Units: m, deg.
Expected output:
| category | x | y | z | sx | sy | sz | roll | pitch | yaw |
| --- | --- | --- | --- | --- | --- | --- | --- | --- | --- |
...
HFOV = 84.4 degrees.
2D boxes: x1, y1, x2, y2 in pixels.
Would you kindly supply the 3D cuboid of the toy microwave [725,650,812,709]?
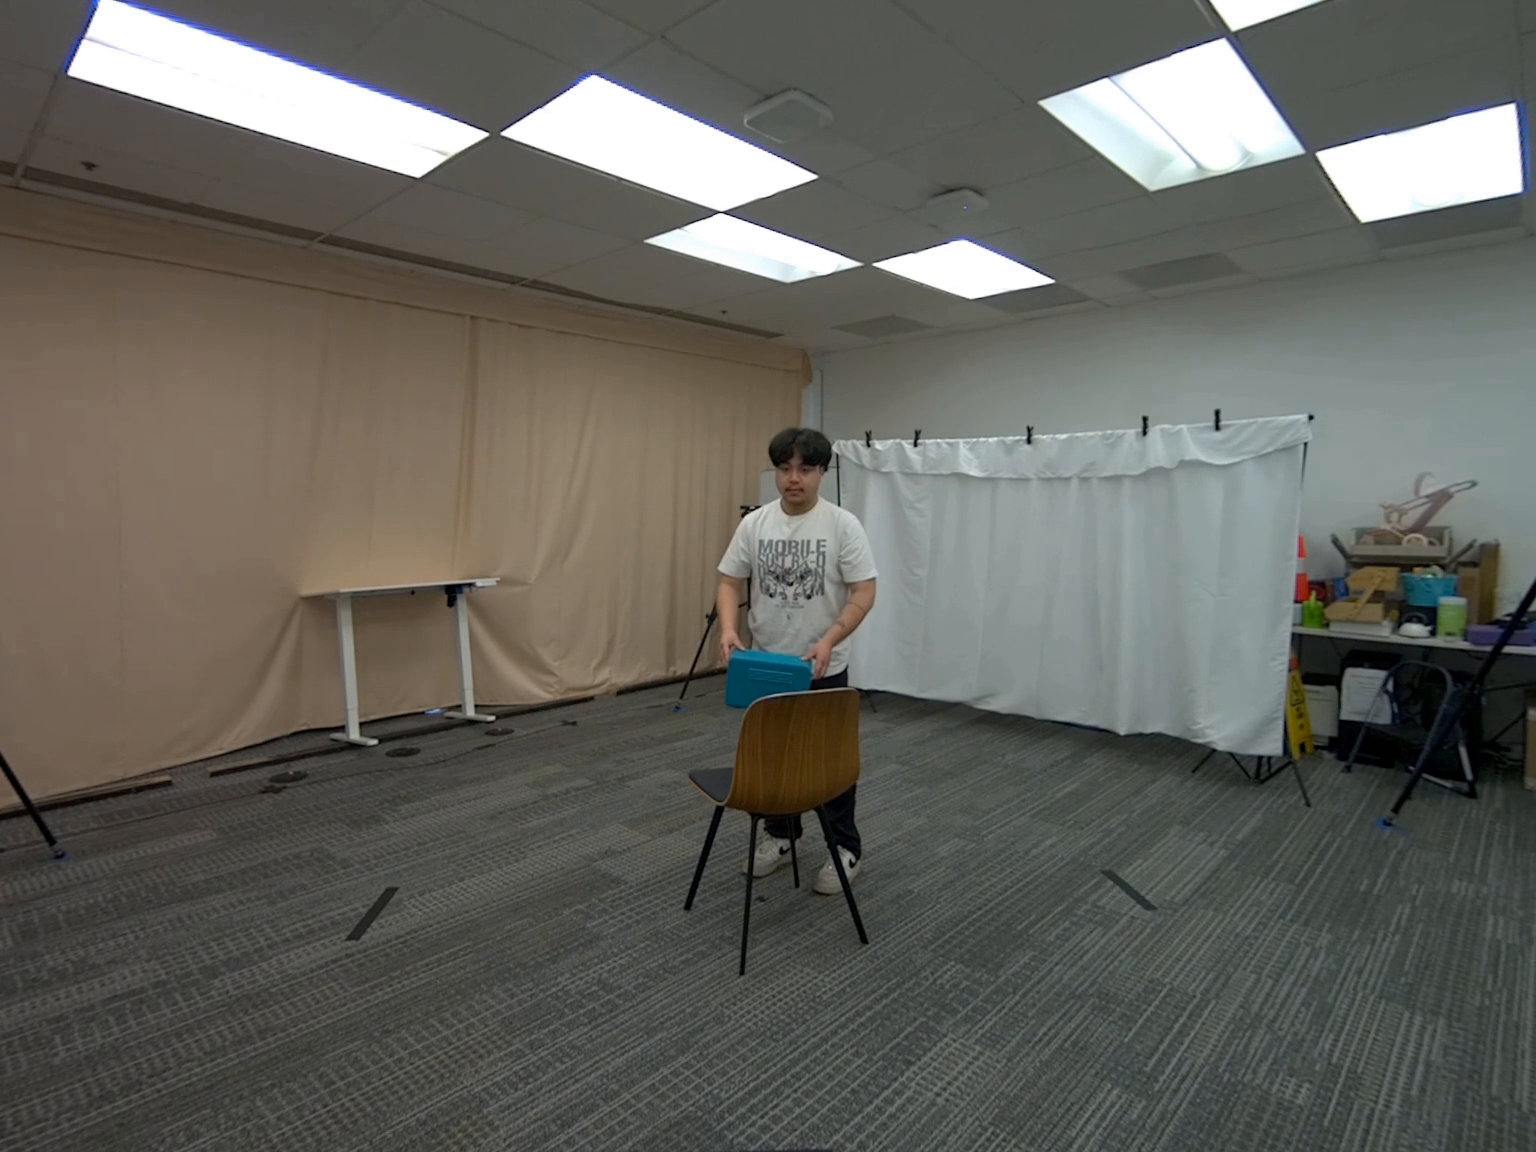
| category | x | y | z | sx | sy | sz | roll | pitch | yaw |
| --- | --- | --- | --- | --- | --- | --- | --- | --- | --- |
| toy microwave | 0.004 | 0.369 | 2.894 | 0.288 | 0.183 | 0.152 | 6 | 7 | 5 |
